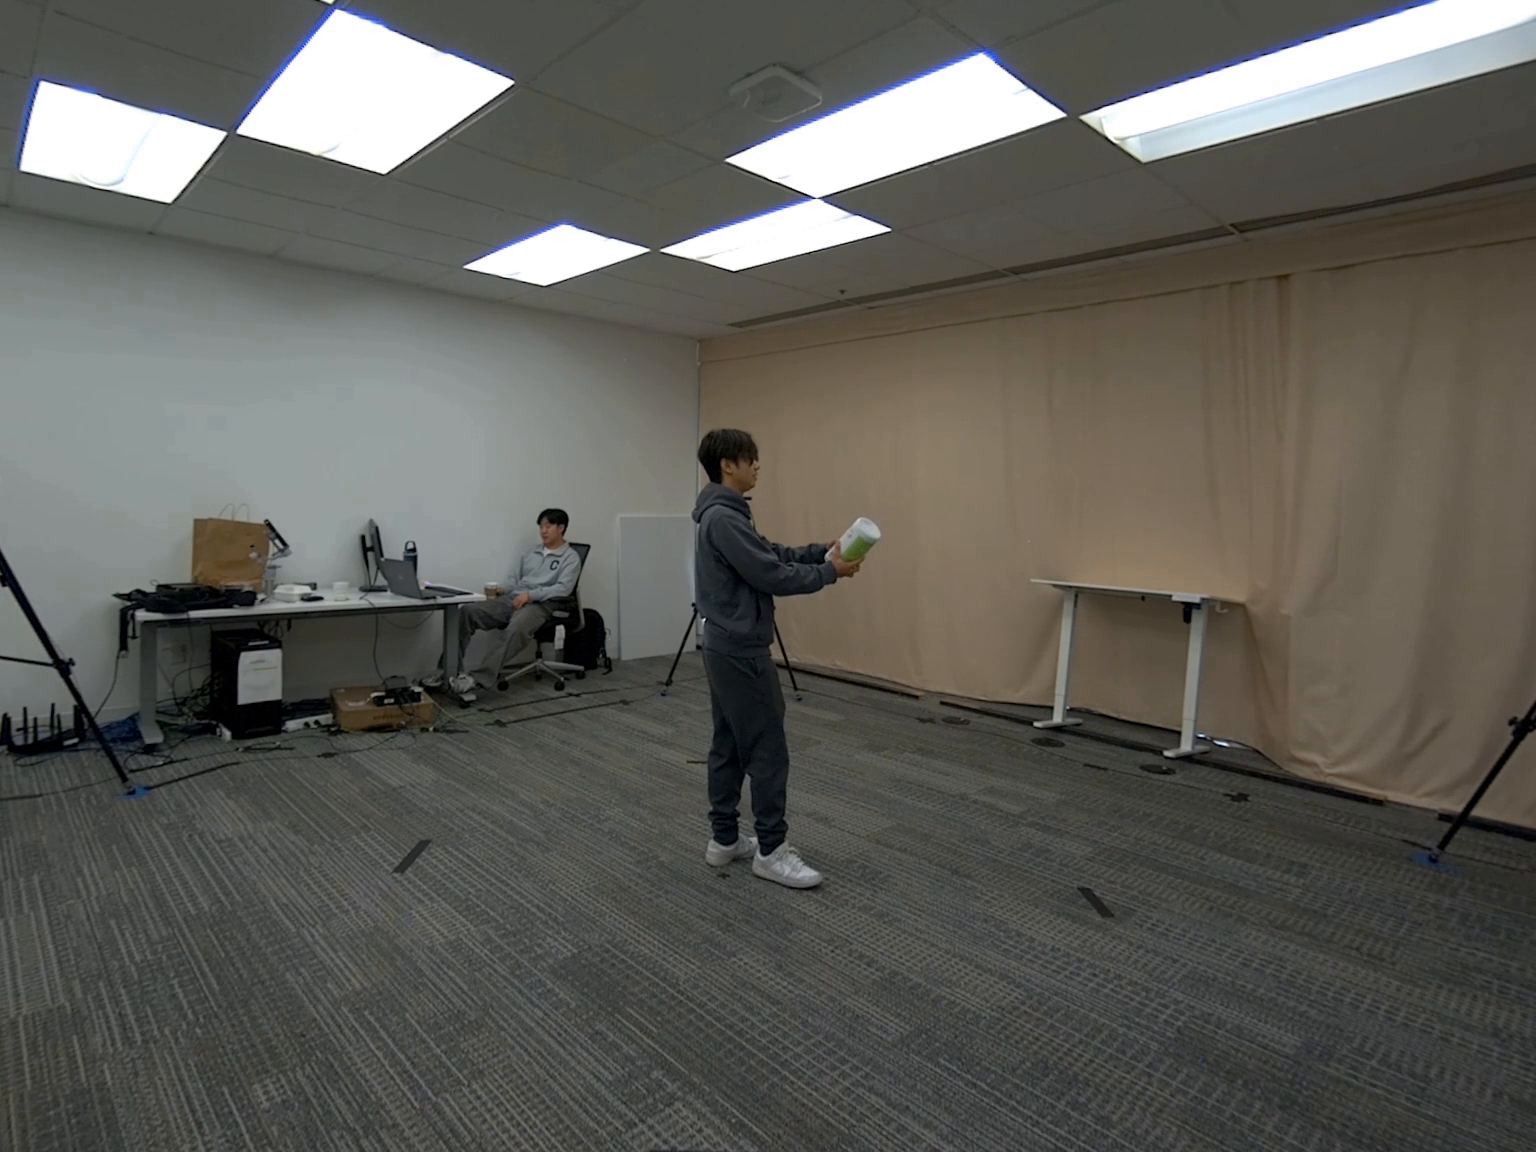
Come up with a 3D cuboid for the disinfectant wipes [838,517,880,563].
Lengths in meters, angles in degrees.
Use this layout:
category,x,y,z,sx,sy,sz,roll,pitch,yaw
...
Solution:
category,x,y,z,sx,sy,sz,roll,pitch,yaw
disinfectant wipes,0.312,-0.115,3.157,0.115,0.217,0.120,26,35,-21
